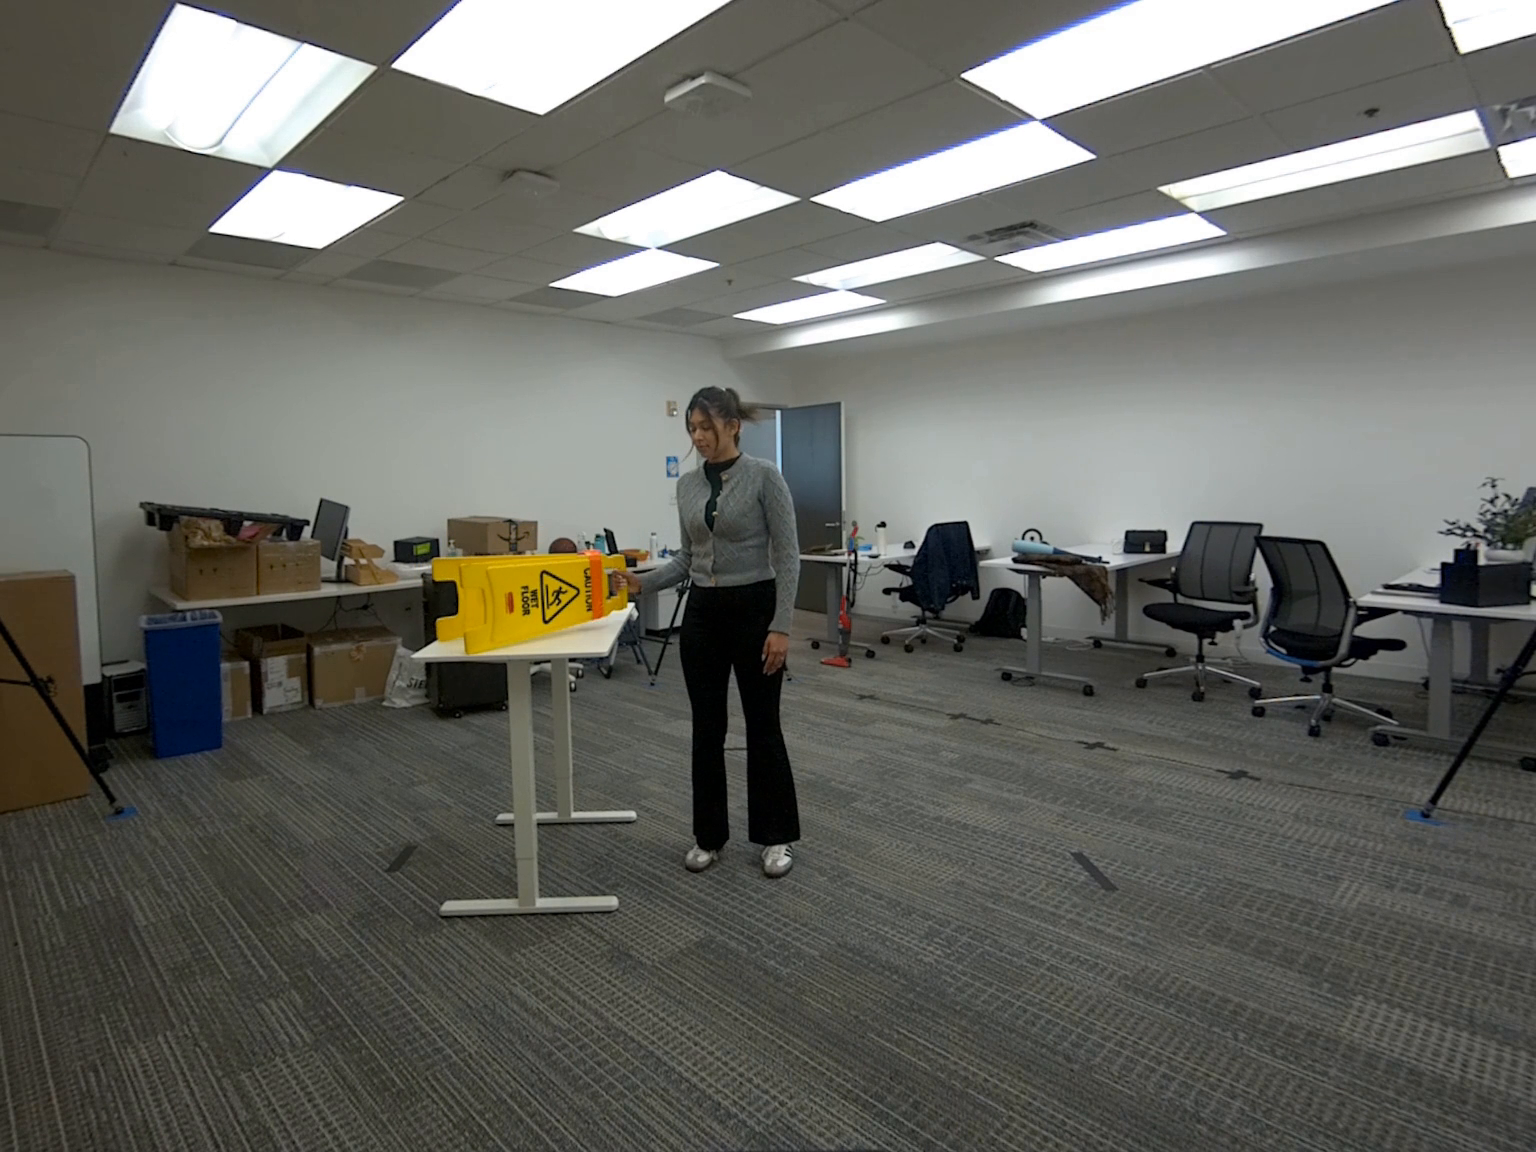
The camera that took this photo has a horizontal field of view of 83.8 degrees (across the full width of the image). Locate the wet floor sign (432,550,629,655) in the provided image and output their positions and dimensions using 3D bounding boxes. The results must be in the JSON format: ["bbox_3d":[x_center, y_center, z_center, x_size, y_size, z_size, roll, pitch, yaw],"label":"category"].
[{"bbox_3d":[-0.762,0.057,2.894,0.631,0.281,0.298,-8,8,-35],"label":"wet floor sign"}]
